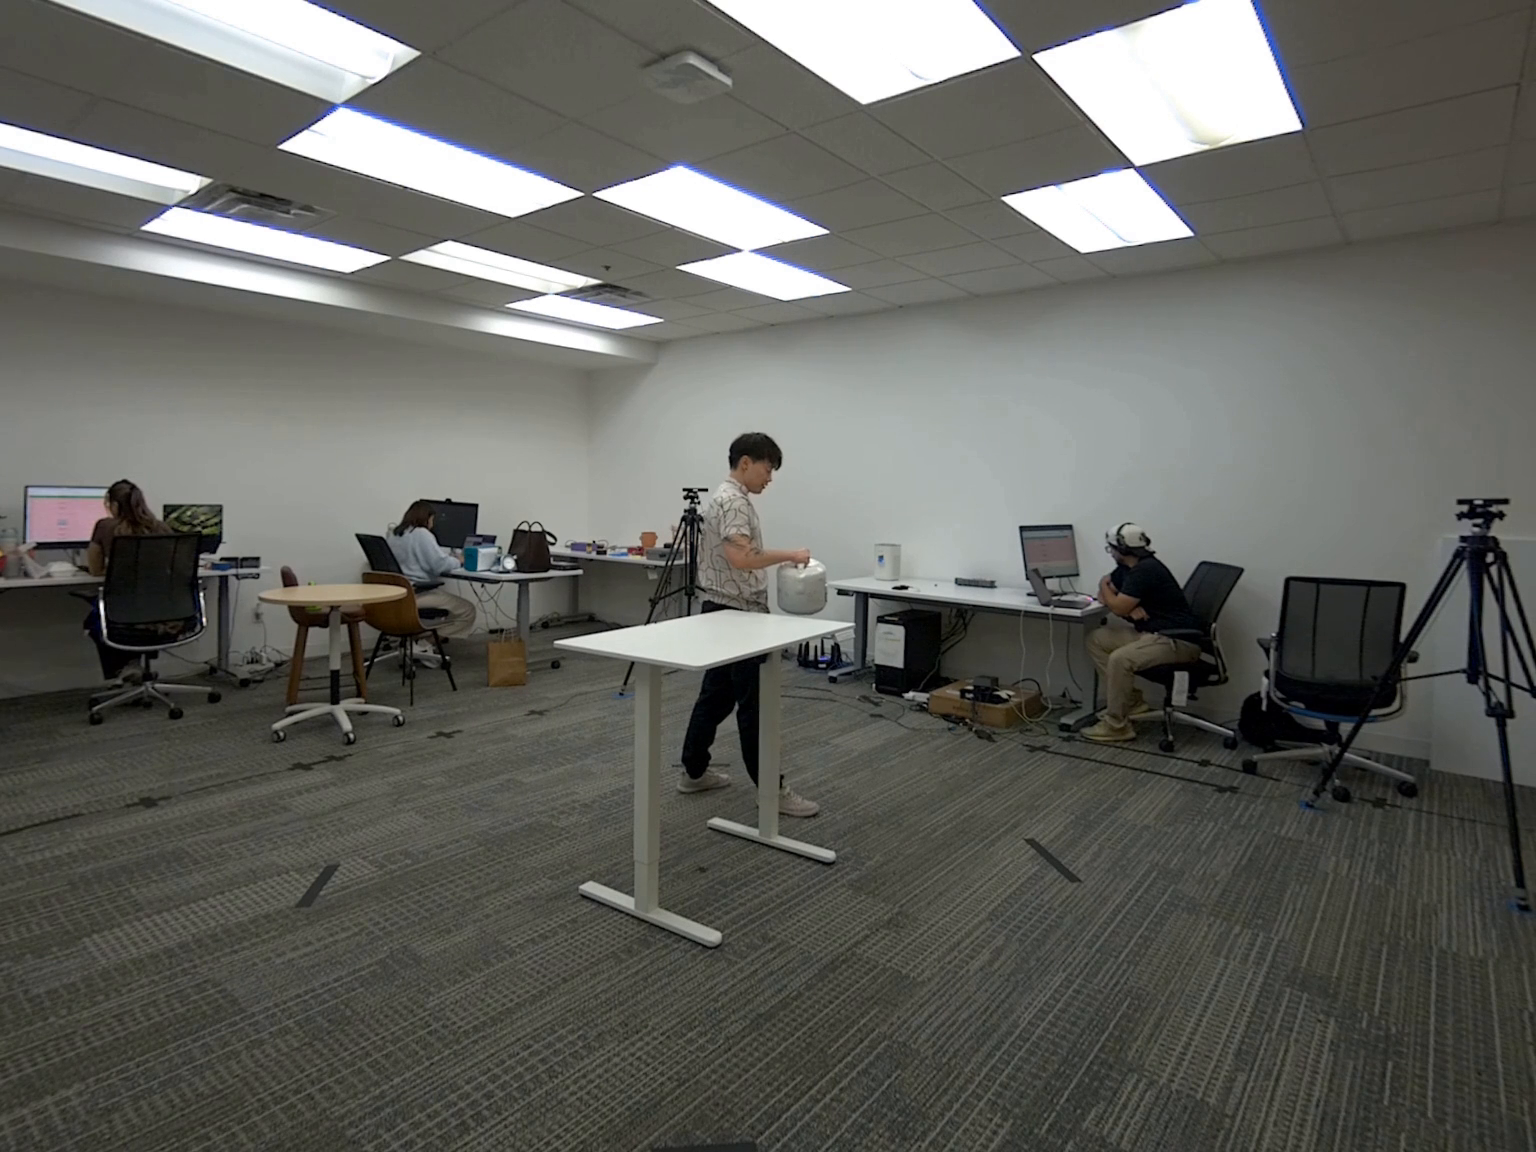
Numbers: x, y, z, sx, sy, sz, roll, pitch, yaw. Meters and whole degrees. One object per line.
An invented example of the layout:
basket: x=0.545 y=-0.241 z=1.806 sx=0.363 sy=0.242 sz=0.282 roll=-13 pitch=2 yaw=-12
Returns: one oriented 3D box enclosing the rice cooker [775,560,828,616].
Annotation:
rice cooker: x=0.139 y=0.028 z=3.666 sx=0.219 sy=0.229 sz=0.222 roll=1 pitch=18 yaw=8
